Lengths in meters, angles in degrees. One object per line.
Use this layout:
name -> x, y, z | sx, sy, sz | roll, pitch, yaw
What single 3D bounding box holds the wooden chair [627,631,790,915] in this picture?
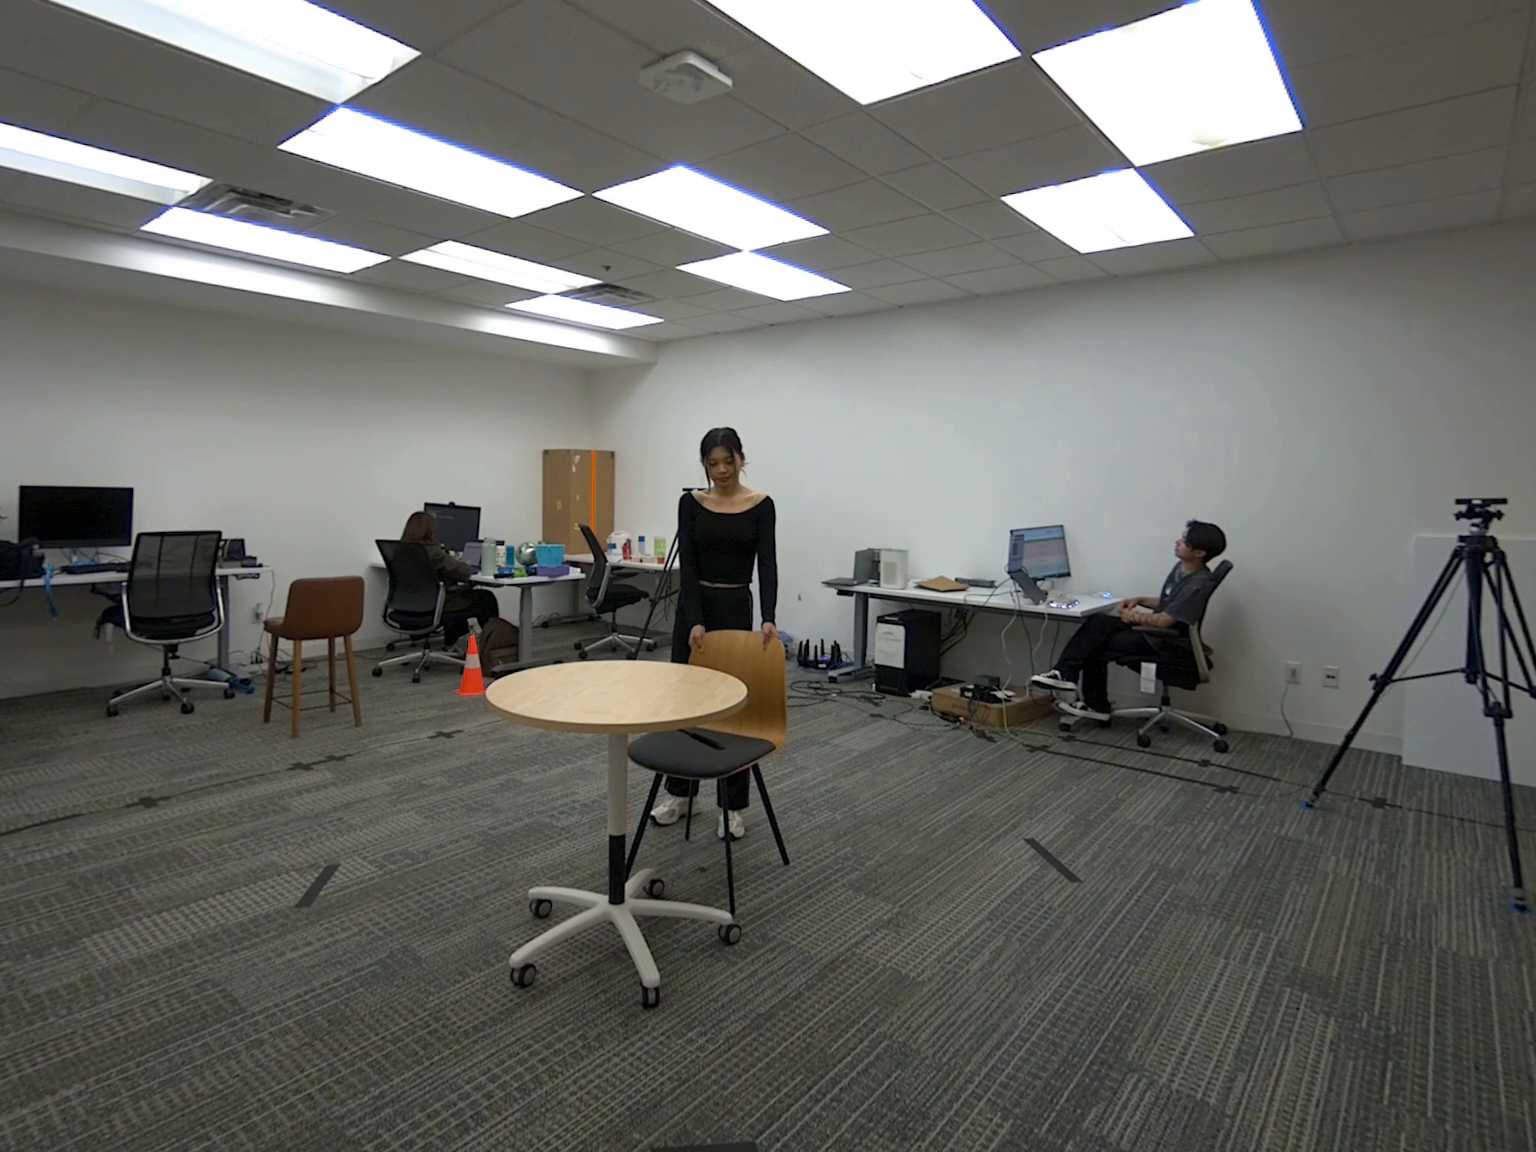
wooden chair -> -0.218, 0.645, 3.047 | 0.492, 0.878, 0.508 | 3, -1, 28
